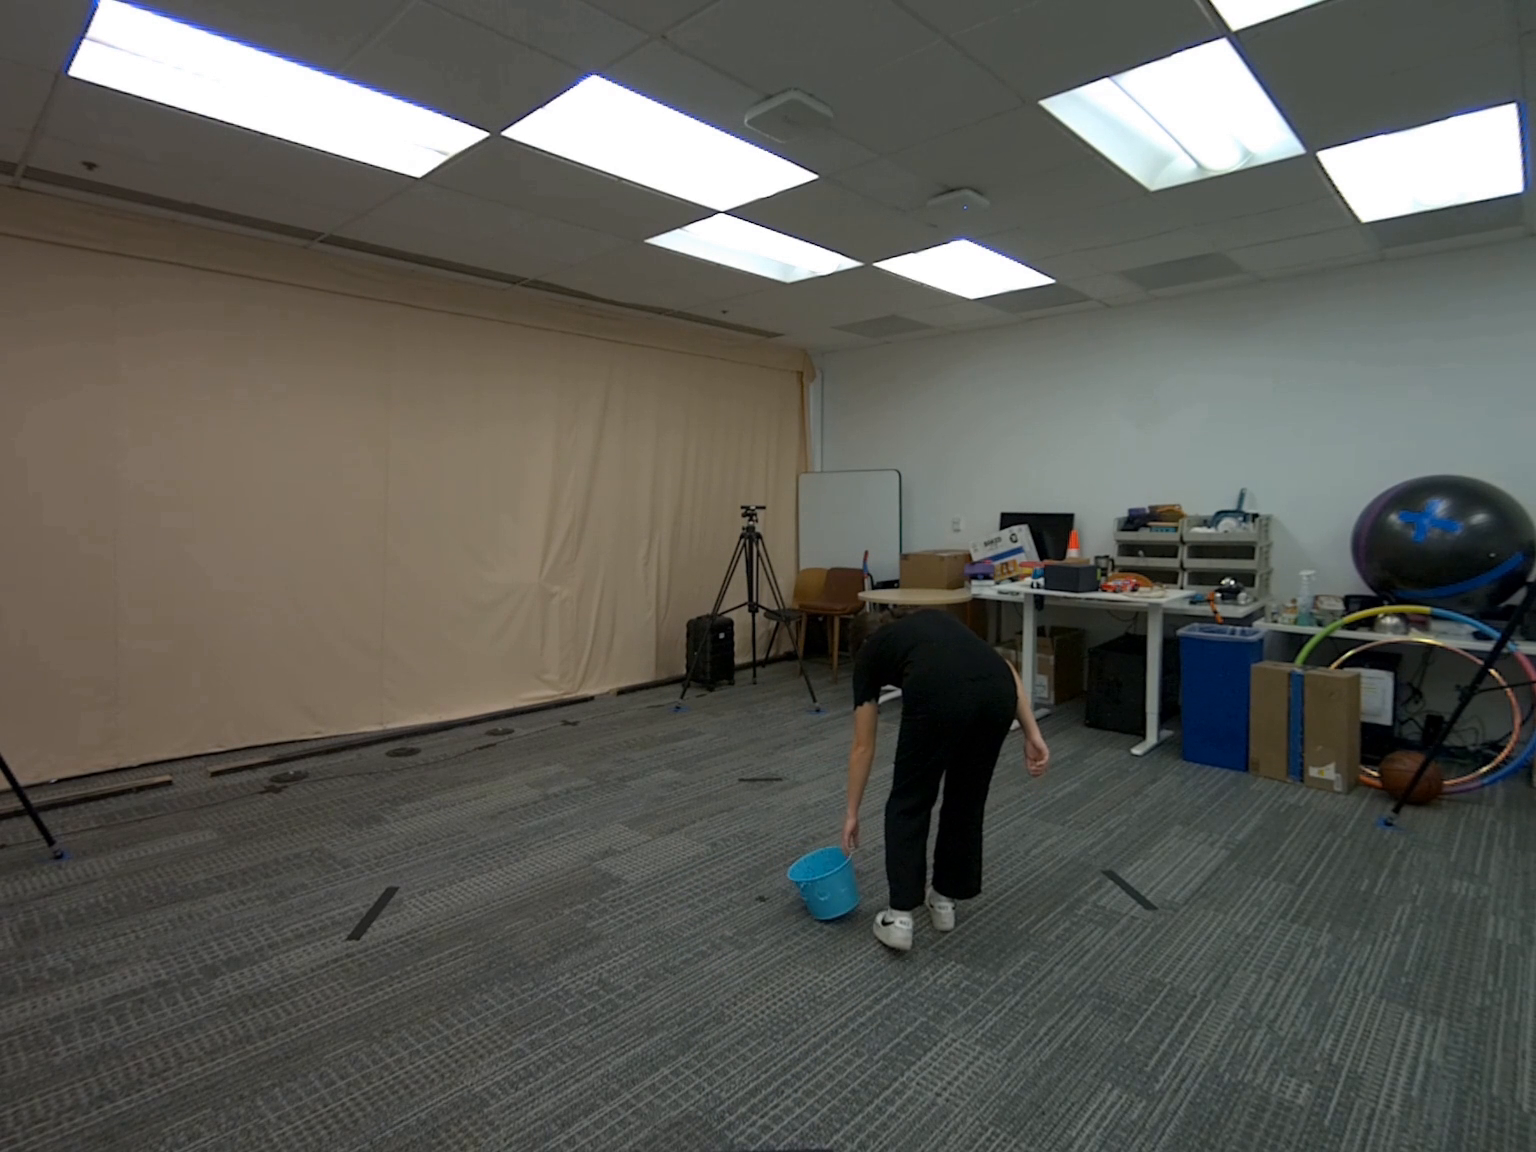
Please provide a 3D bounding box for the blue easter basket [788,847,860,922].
[{"bbox_3d":[0.204,1.054,2.878,0.243,0.156,0.244,-20,2,-2],"label":"blue easter basket"}]
